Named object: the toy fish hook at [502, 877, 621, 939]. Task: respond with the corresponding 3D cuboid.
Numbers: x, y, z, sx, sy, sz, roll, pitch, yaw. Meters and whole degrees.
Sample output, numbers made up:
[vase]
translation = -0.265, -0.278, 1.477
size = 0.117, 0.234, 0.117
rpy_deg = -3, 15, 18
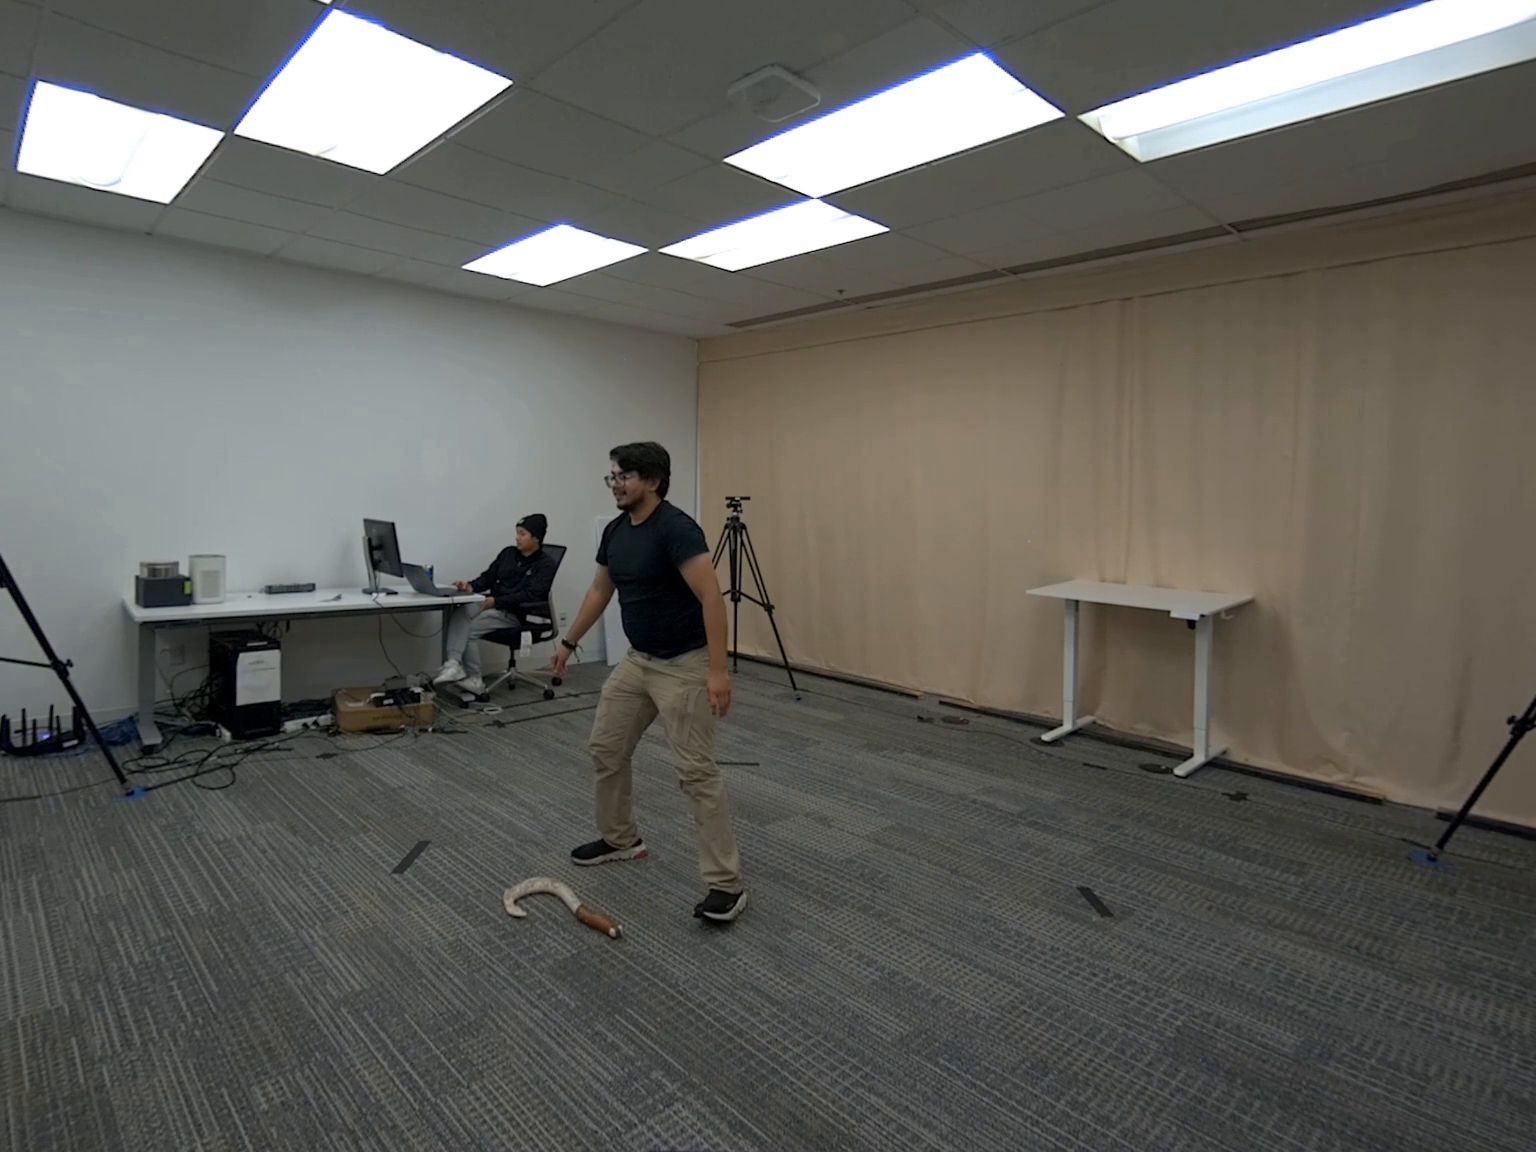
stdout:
[toy fish hook]
translation = -0.691, 1.111, 2.770
size = 0.519, 0.048, 0.220
rpy_deg = 5, 13, 42
